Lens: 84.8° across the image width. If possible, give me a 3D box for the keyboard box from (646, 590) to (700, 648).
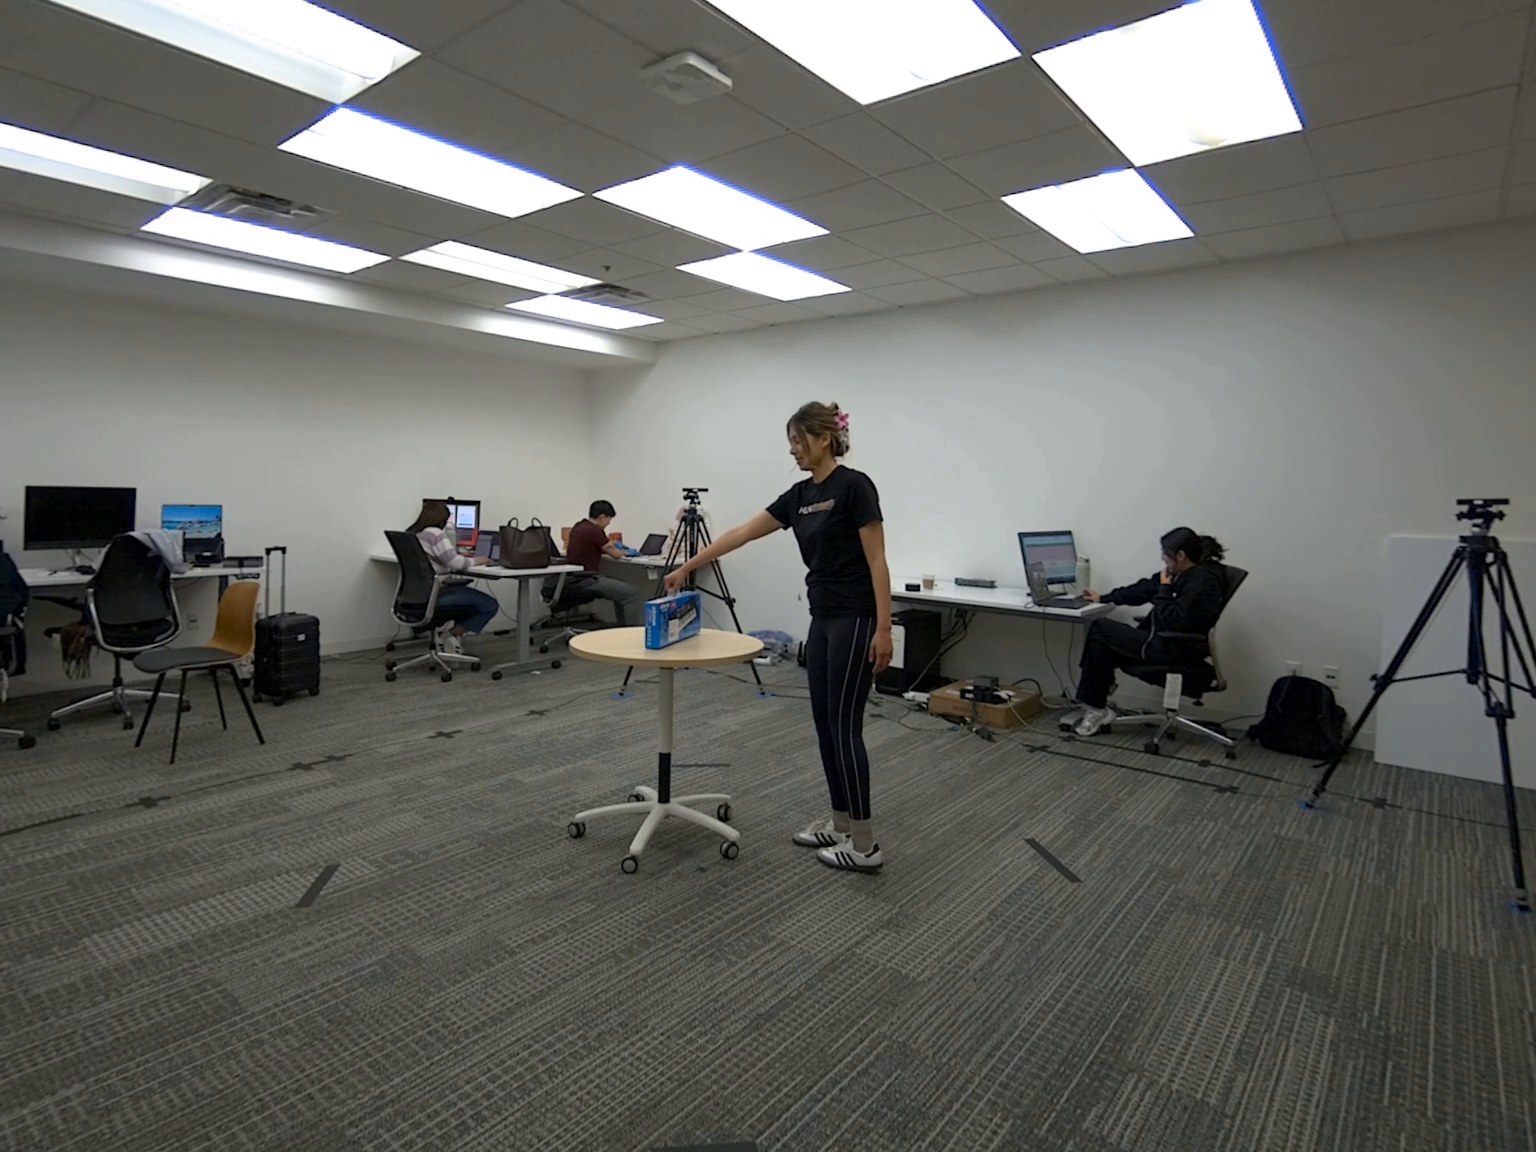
[{"bbox_3d":[-0.380,0.165,3.383,0.060,0.175,0.430,0,4,15],"label":"keyboard box"}]
